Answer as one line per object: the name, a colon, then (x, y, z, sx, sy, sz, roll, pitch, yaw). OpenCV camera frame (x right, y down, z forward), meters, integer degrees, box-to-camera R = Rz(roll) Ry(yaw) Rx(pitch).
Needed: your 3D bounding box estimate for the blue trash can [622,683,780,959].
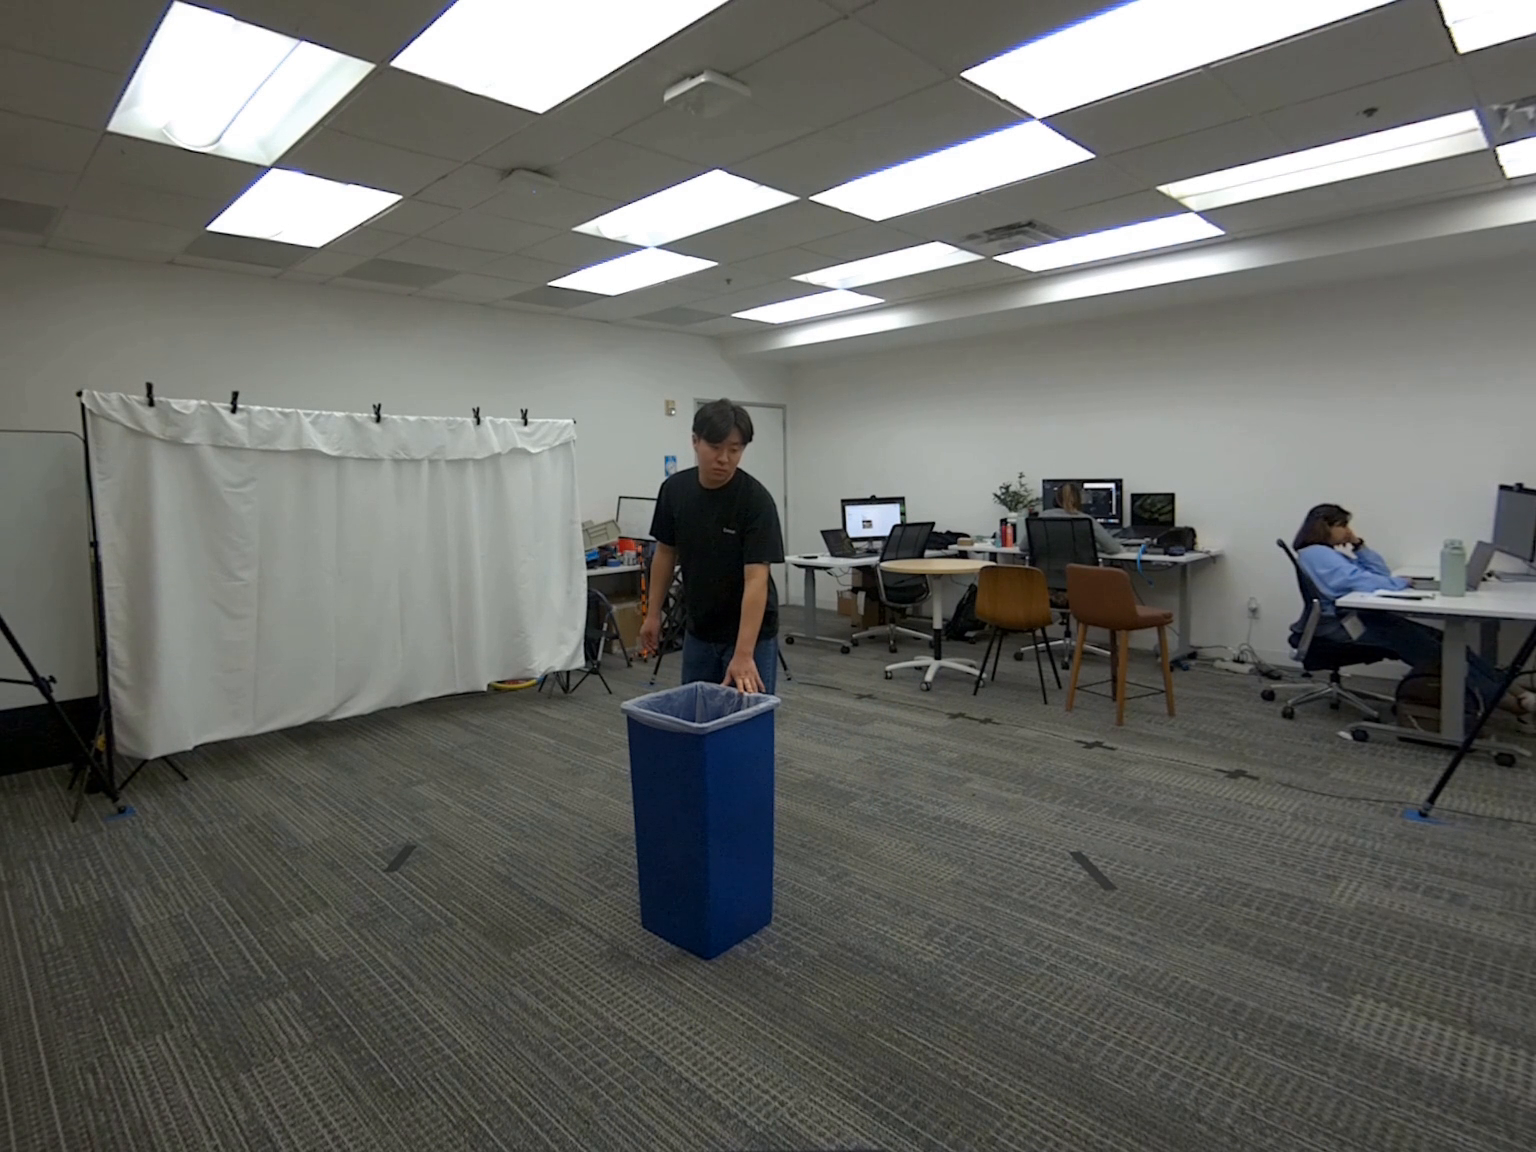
blue trash can: (-0.201, 0.743, 2.654, 0.389, 0.711, 0.364, 2, 5, 40)
